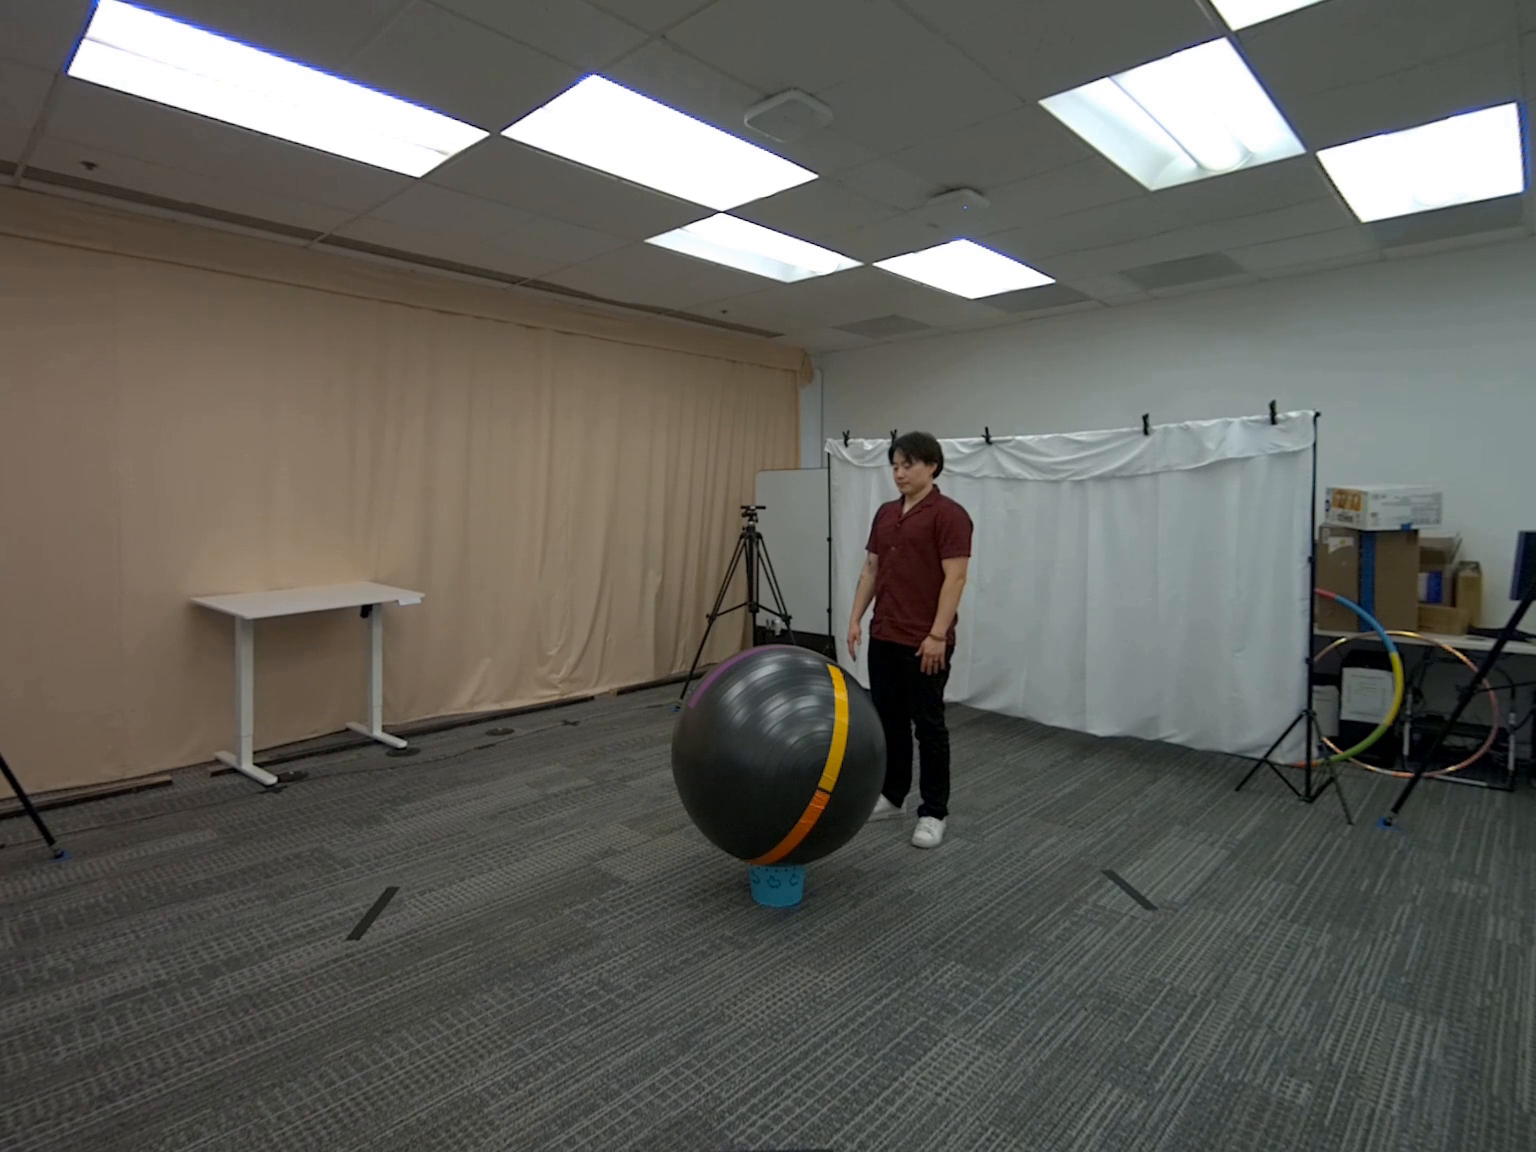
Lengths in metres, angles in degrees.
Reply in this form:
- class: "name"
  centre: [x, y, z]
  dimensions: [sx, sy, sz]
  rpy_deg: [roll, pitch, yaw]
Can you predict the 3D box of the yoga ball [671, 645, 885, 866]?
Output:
- class: "yoga ball"
  centre: [0.037, 0.630, 2.987]
  dimensions: [0.757, 0.756, 0.760]
  rpy_deg: [0, 4, -2]
